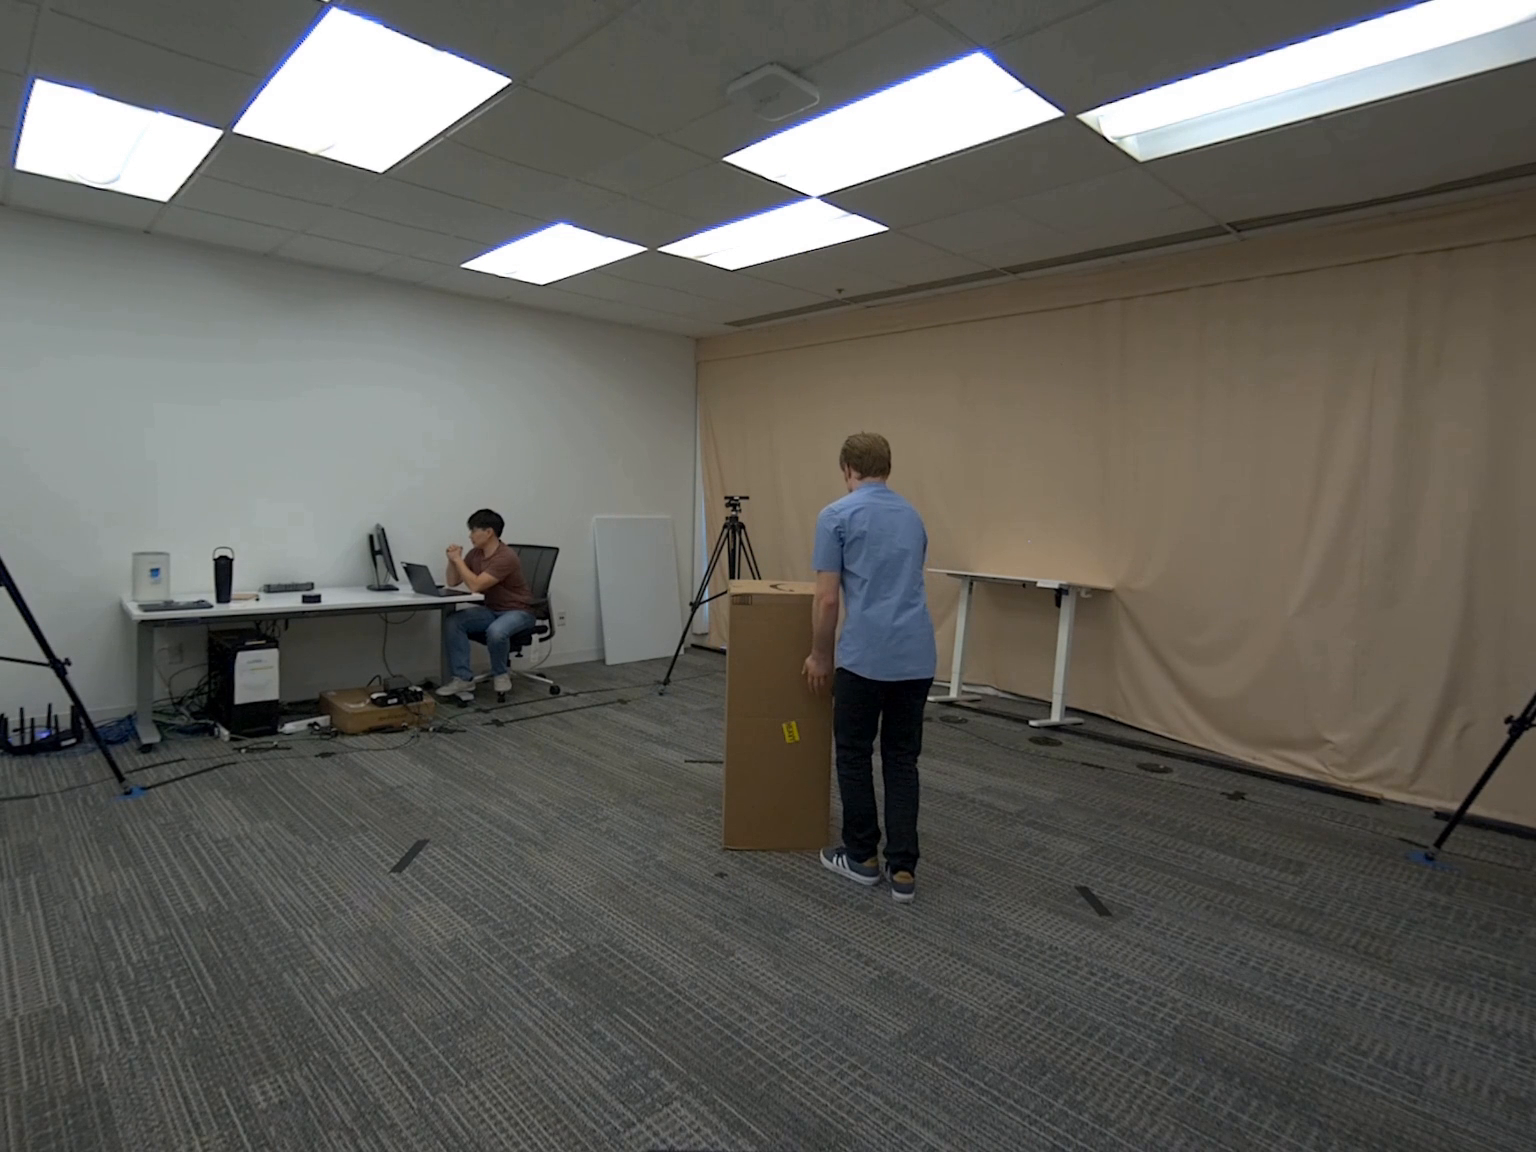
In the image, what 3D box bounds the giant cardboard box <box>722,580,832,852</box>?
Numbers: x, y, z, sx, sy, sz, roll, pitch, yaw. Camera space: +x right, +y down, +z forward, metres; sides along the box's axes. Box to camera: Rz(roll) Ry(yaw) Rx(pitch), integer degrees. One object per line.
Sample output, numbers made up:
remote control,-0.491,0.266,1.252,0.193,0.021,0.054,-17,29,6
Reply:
giant cardboard box,0.027,0.558,3.596,0.426,1.024,0.578,2,3,-1
